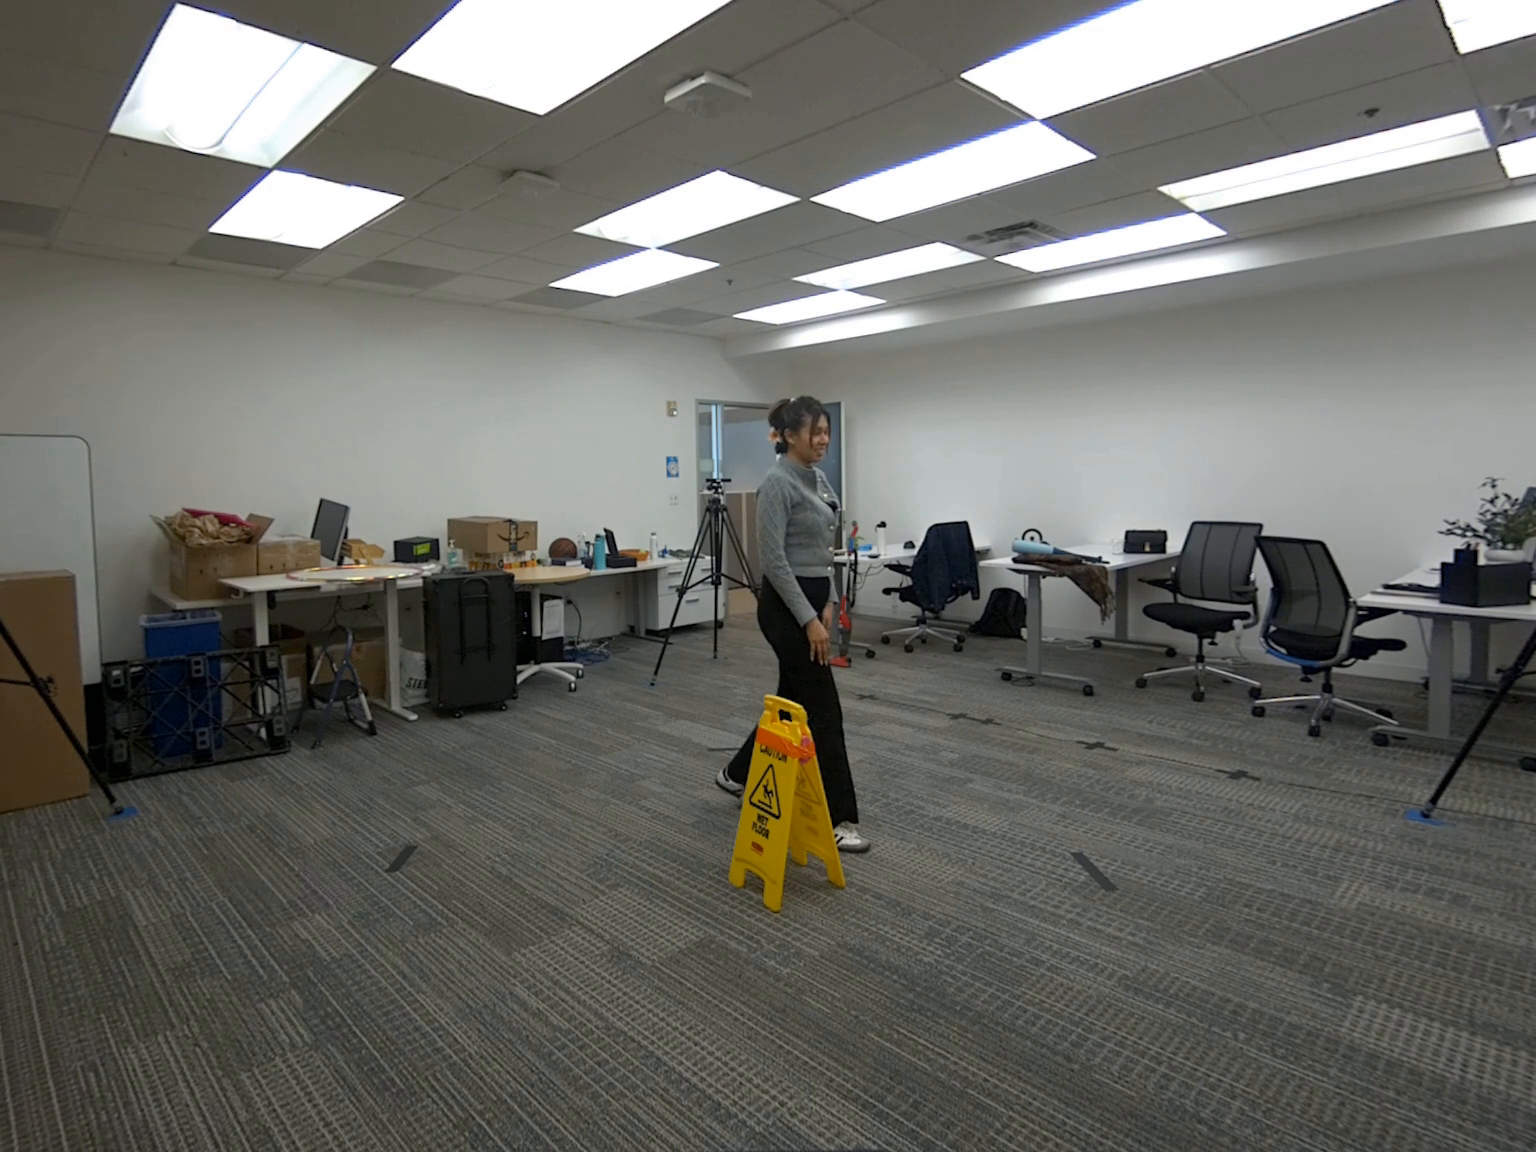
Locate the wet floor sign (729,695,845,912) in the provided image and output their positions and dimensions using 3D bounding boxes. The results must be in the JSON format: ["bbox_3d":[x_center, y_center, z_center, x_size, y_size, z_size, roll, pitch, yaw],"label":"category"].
[{"bbox_3d":[0.056,0.741,2.921,0.282,0.644,0.290,-4,5,-34],"label":"wet floor sign"}]
